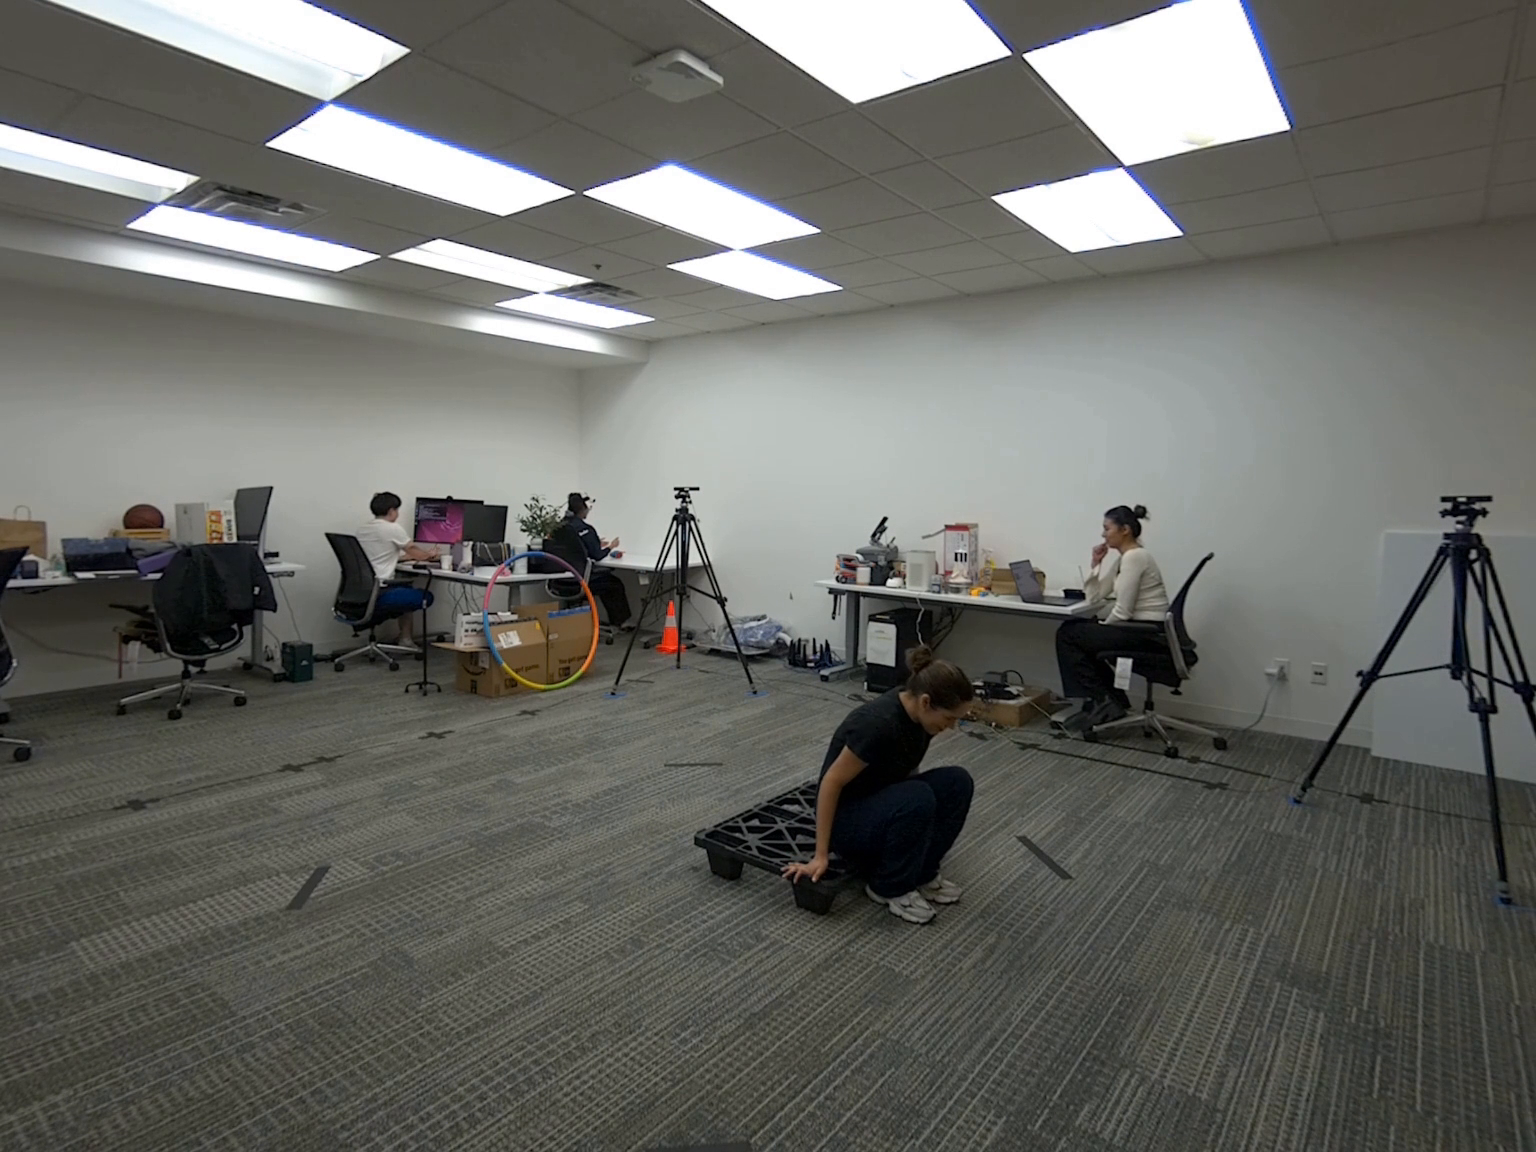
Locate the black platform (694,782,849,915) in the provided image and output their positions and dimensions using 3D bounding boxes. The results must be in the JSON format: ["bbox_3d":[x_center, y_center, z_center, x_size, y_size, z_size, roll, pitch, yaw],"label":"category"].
[{"bbox_3d":[0.204,0.996,3.211,0.625,0.143,0.782,4,6,37],"label":"black platform"}]
